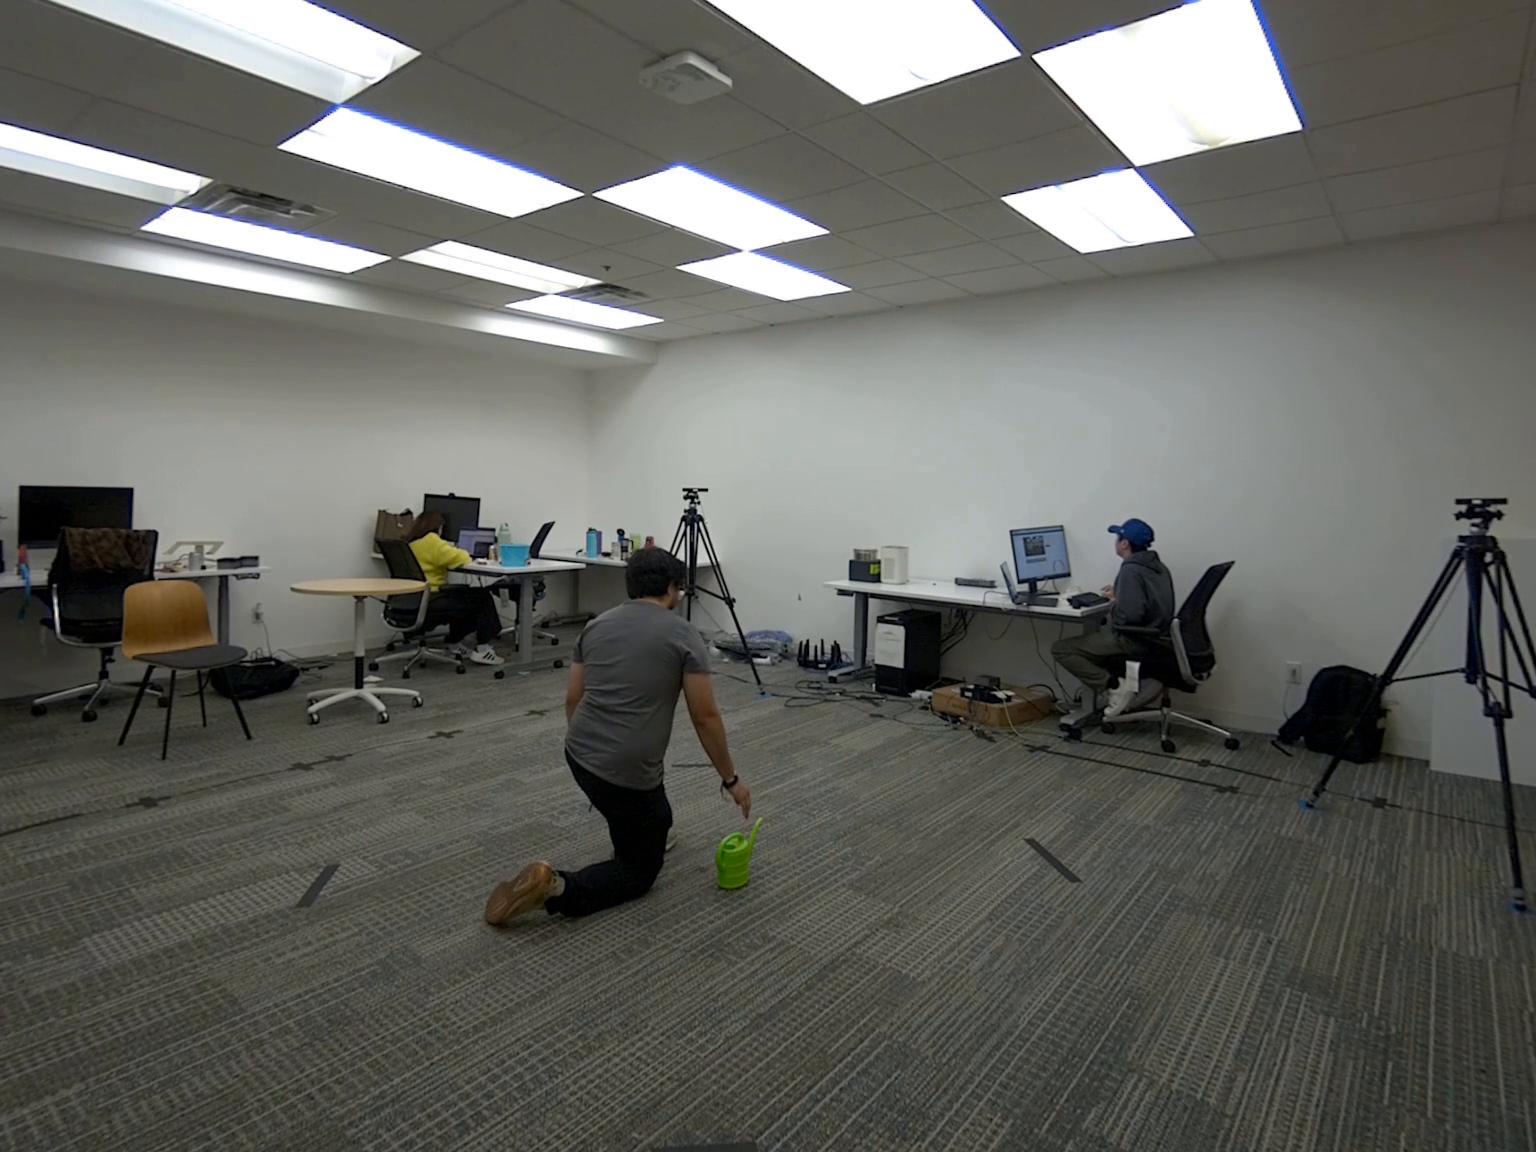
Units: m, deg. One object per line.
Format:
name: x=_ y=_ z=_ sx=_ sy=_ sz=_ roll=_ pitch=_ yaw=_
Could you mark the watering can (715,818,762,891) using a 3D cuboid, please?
watering can: x=-0.098 y=0.995 z=3.027 sx=0.270 sy=0.176 sz=0.101 roll=-3 pitch=6 yaw=-40
